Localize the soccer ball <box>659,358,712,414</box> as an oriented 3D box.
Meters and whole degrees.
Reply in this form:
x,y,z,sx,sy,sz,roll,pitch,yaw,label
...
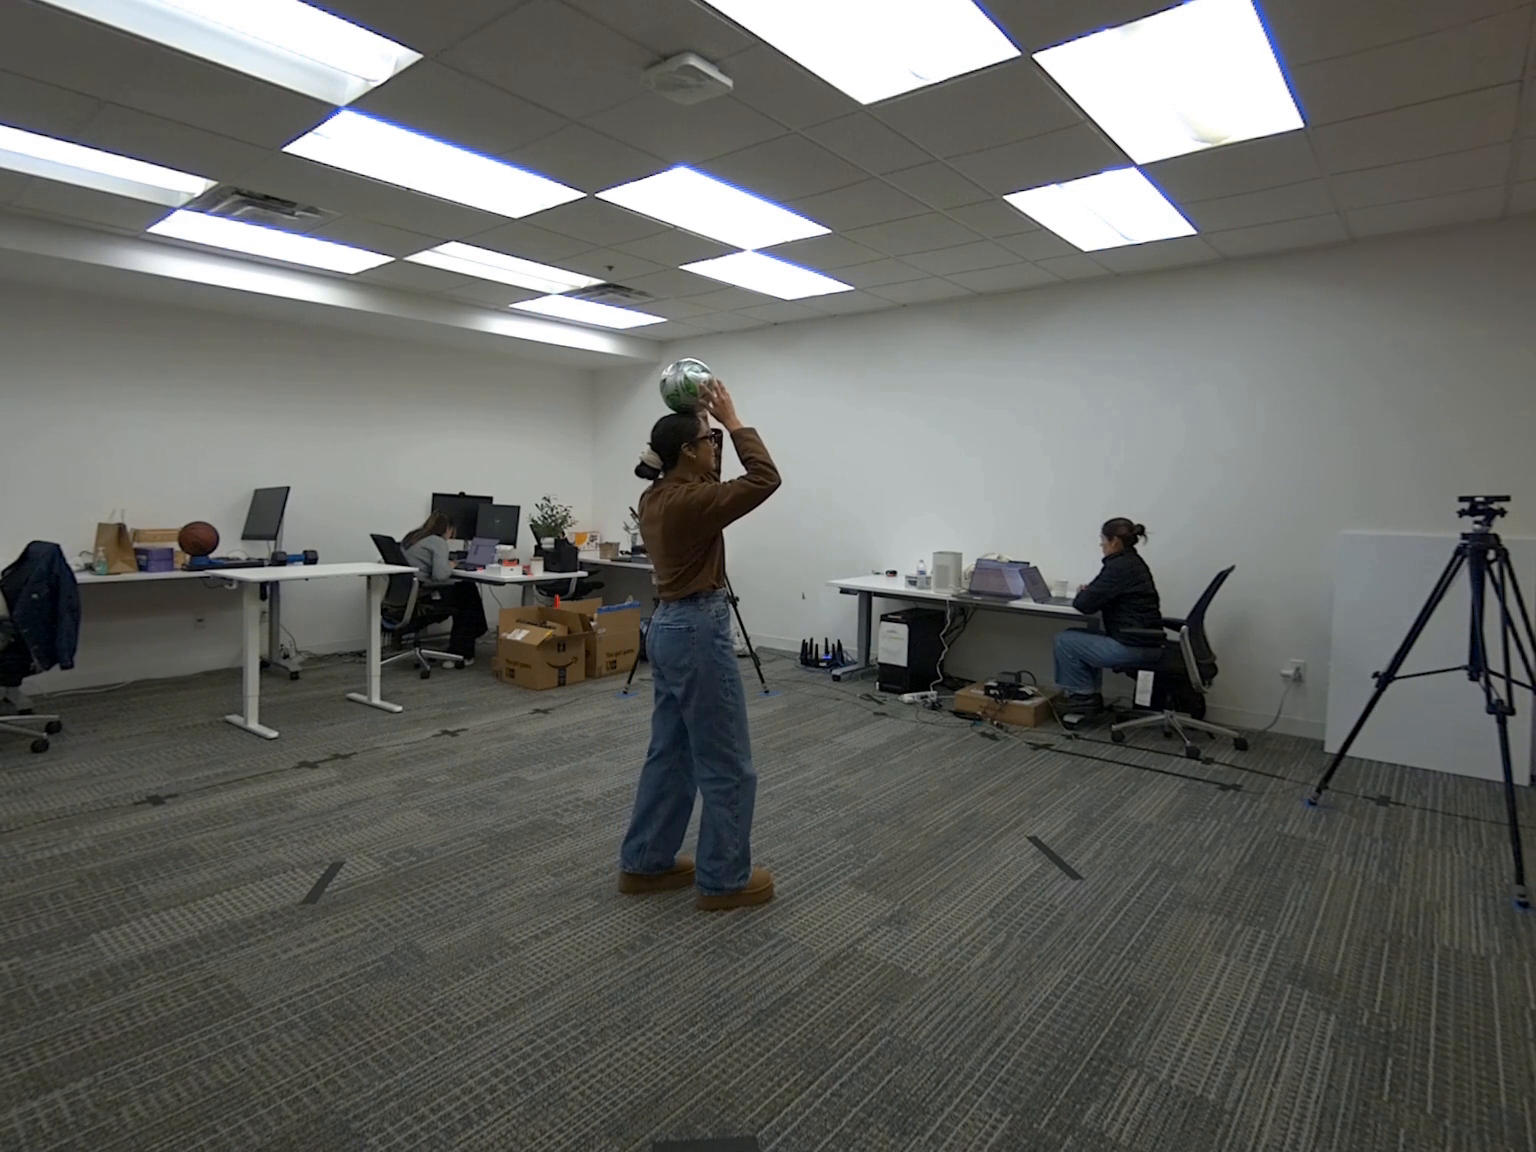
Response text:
x,y,z,sx,sy,sz,roll,pitch,yaw,label
-0.282,-0.642,2.878,0.187,0.187,0.188,1,4,-2,soccer ball
